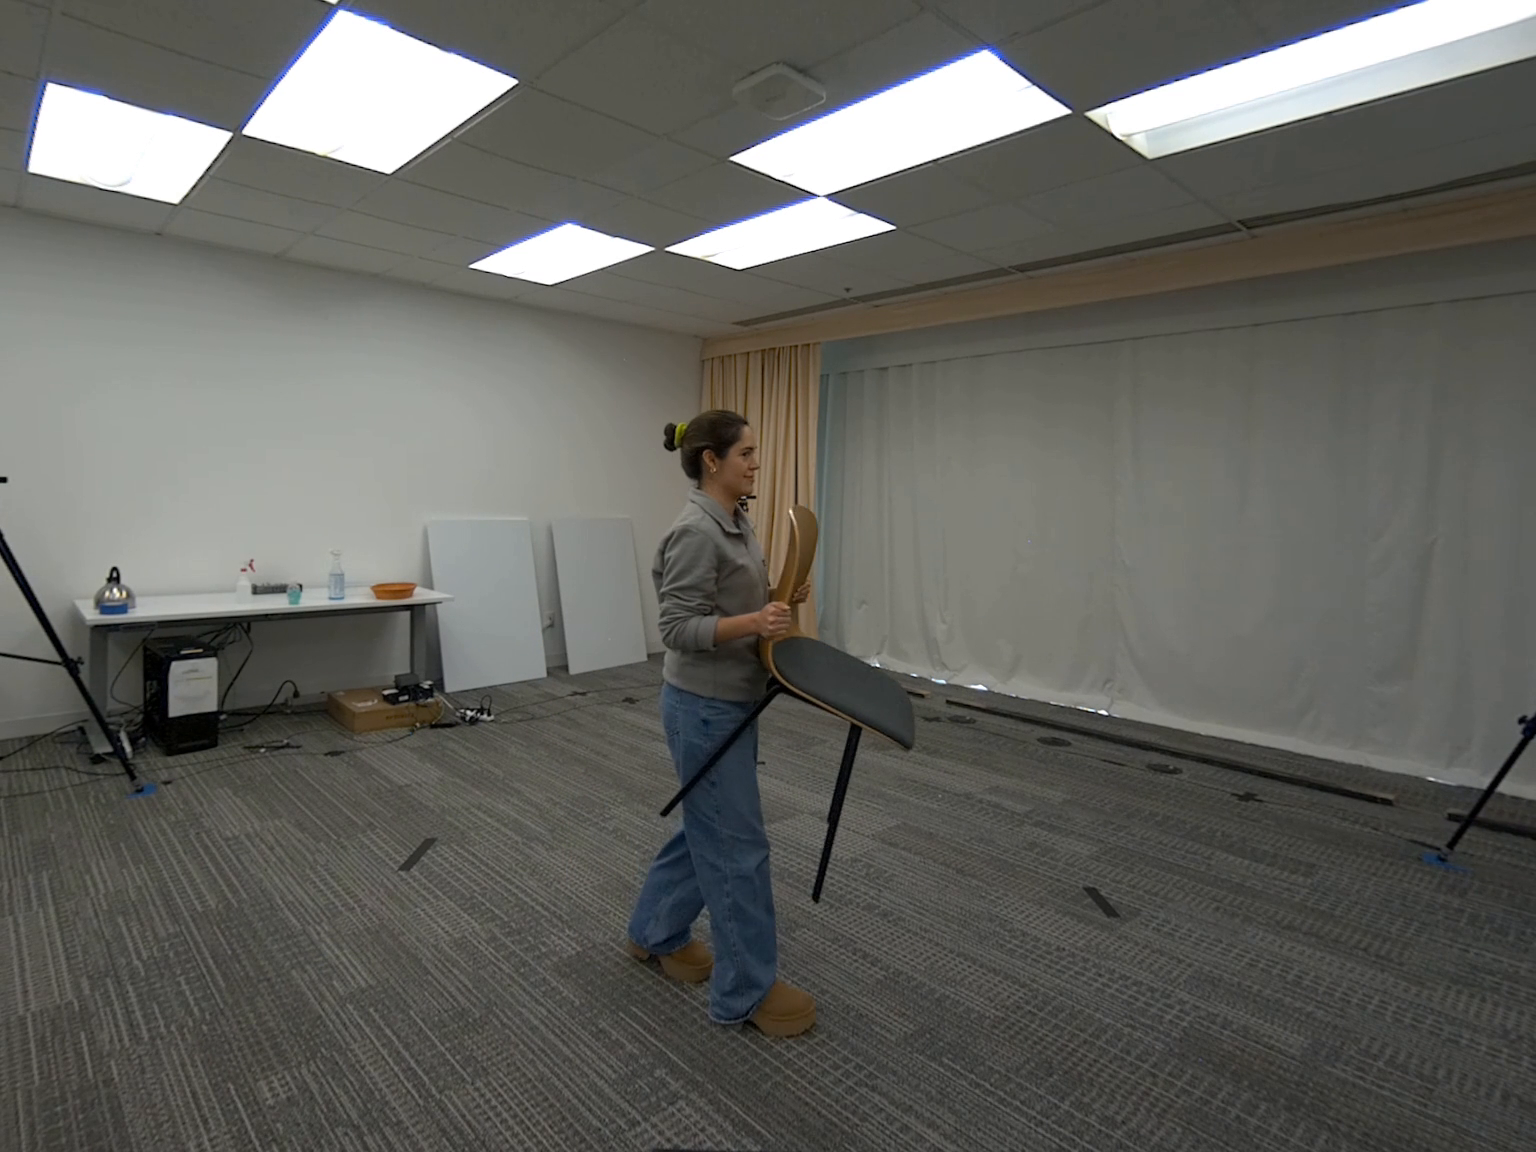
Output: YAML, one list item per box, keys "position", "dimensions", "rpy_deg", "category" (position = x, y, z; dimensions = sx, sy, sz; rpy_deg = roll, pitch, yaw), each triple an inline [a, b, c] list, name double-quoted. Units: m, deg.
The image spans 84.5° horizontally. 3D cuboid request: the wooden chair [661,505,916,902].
- position: [0.139, 0.314, 2.256]
  dimensions: [0.528, 0.873, 0.476]
  rpy_deg: [23, 10, 8]
  category: "wooden chair"
